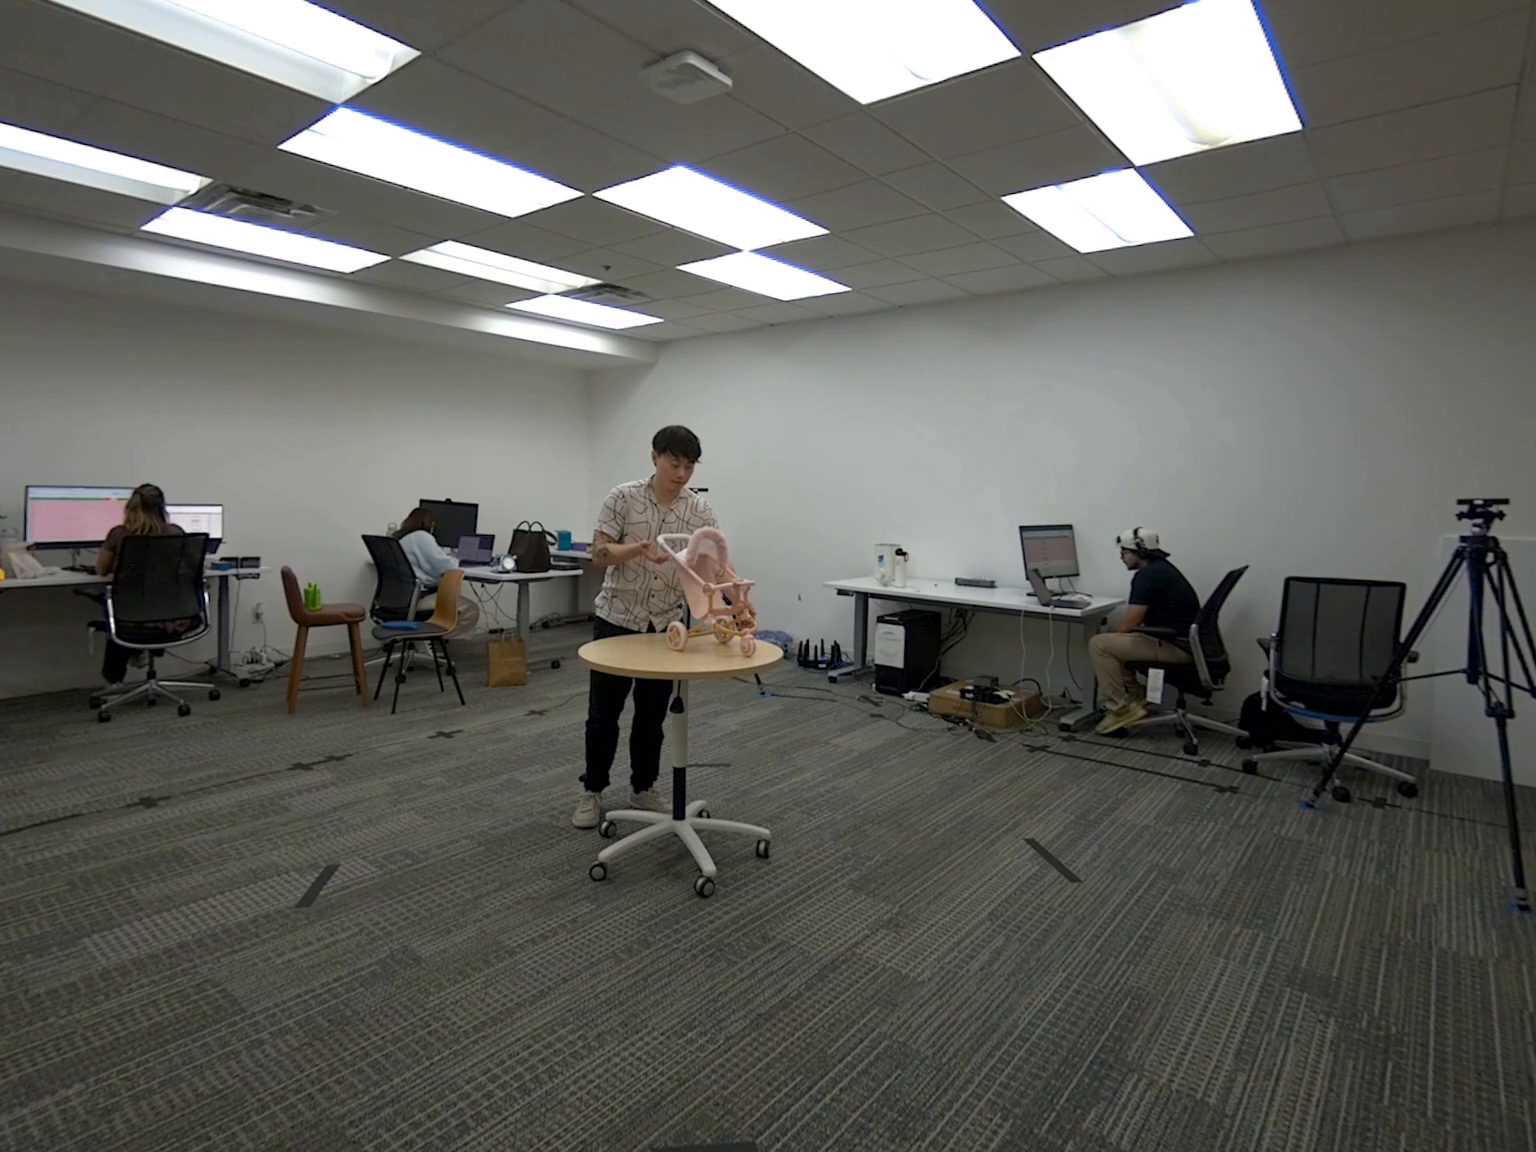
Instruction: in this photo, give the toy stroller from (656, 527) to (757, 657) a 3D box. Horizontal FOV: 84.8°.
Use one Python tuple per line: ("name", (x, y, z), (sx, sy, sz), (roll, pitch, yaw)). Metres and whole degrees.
("toy stroller", (-0.221, 0.053, 3.211), (0.273, 0.540, 0.348), (-3, -11, -43))
